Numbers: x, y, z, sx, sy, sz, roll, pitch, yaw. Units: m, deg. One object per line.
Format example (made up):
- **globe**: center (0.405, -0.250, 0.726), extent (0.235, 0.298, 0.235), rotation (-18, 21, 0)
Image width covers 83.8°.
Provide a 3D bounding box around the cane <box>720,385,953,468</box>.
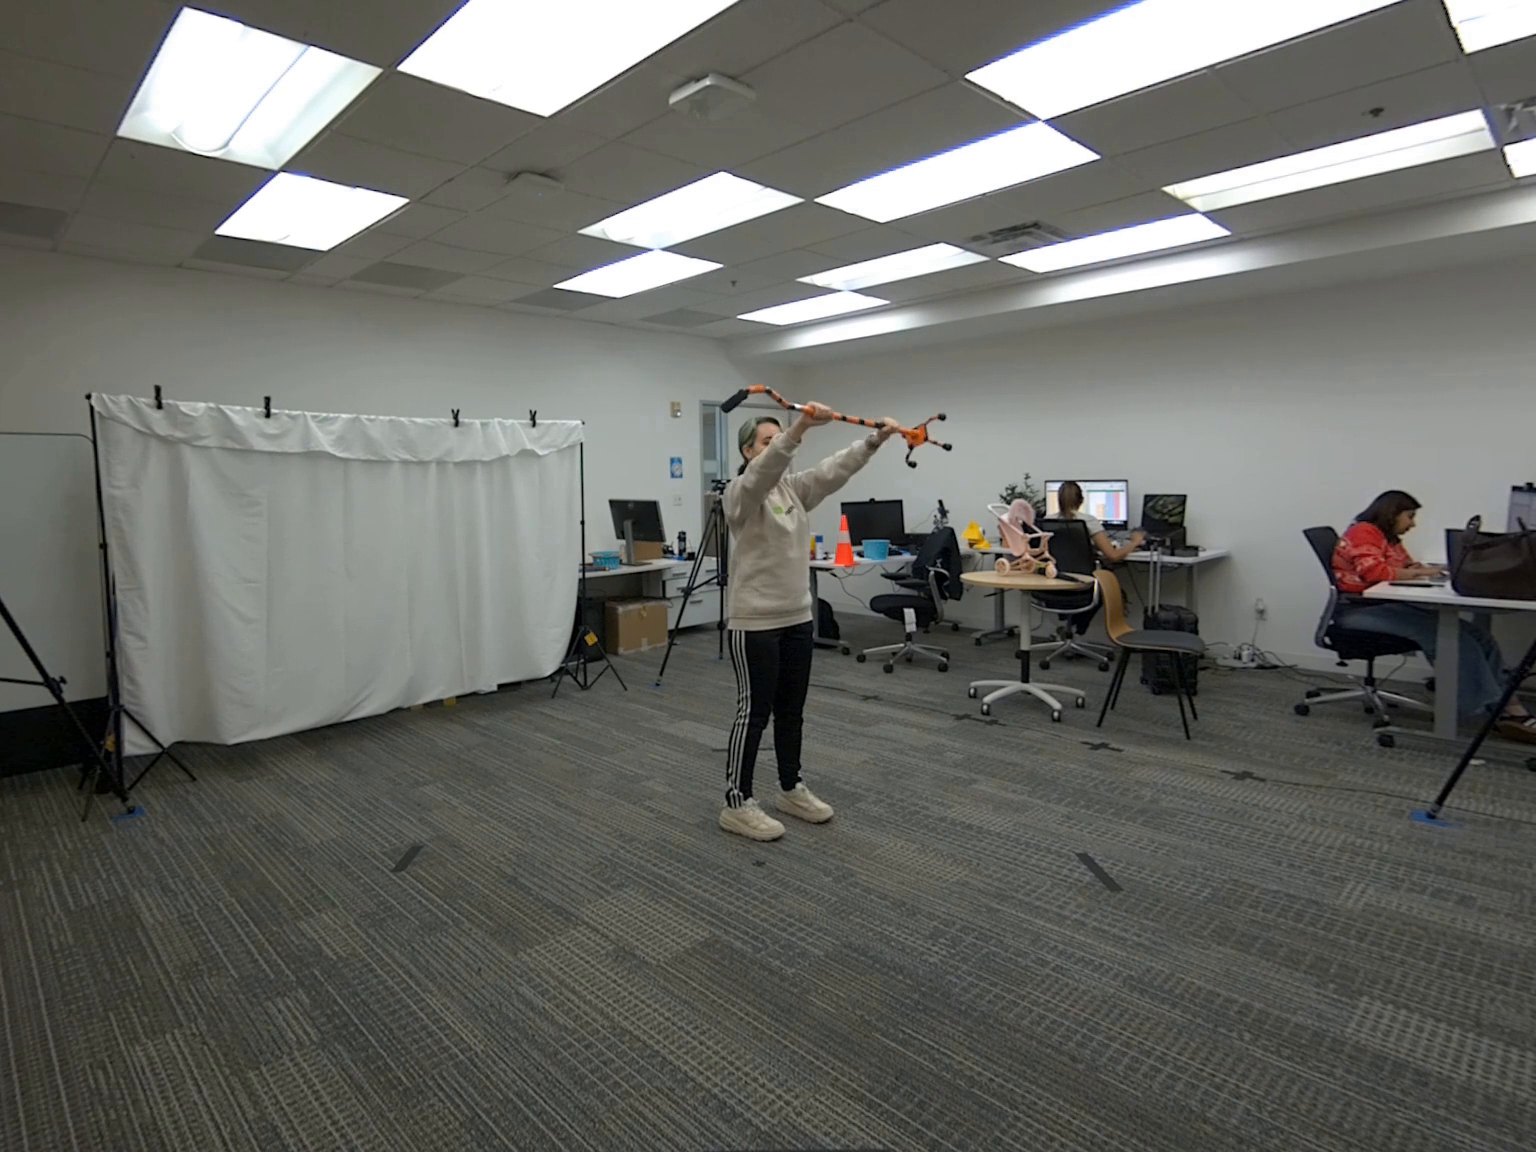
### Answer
- **cane**: center (0.255, -0.543, 3.010), extent (0.881, 0.154, 0.209), rotation (5, -21, -36)
